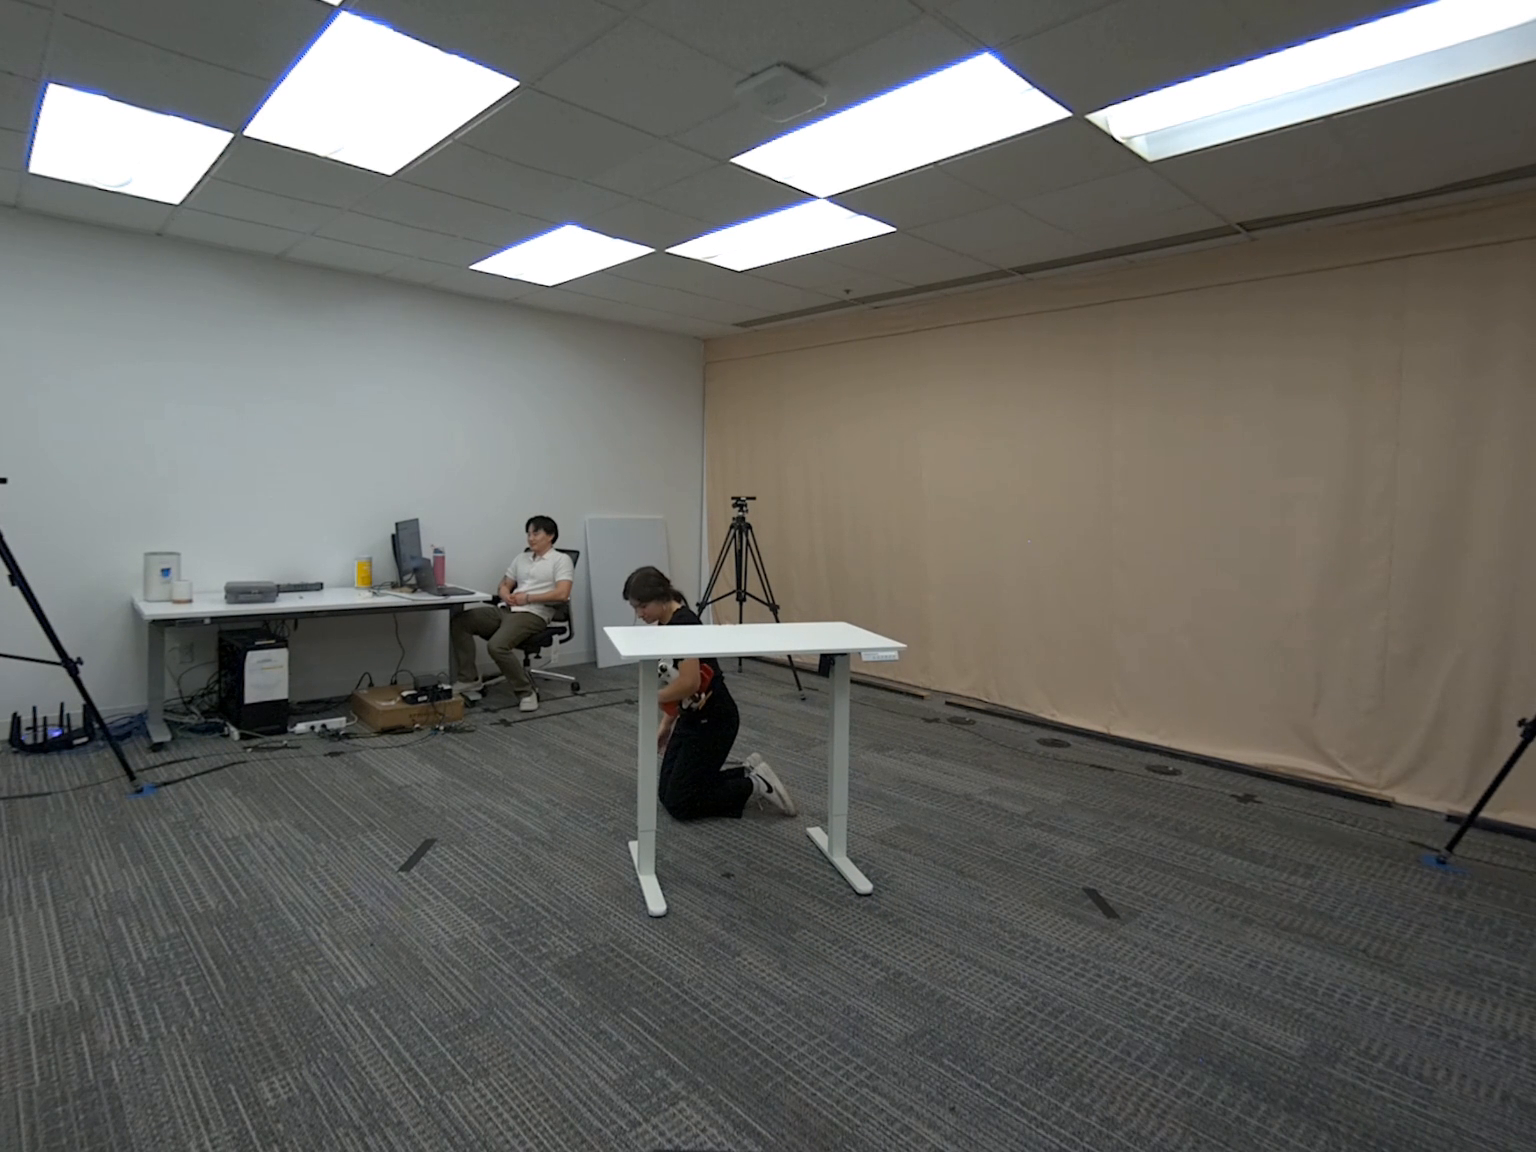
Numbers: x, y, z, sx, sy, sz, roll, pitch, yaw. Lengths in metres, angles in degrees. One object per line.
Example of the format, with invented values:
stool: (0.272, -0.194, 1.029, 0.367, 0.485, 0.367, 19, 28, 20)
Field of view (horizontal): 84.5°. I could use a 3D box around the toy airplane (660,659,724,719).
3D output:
toy airplane: (-0.368, 0.448, 3.567, 0.254, 0.260, 0.154, -17, -2, 21)
